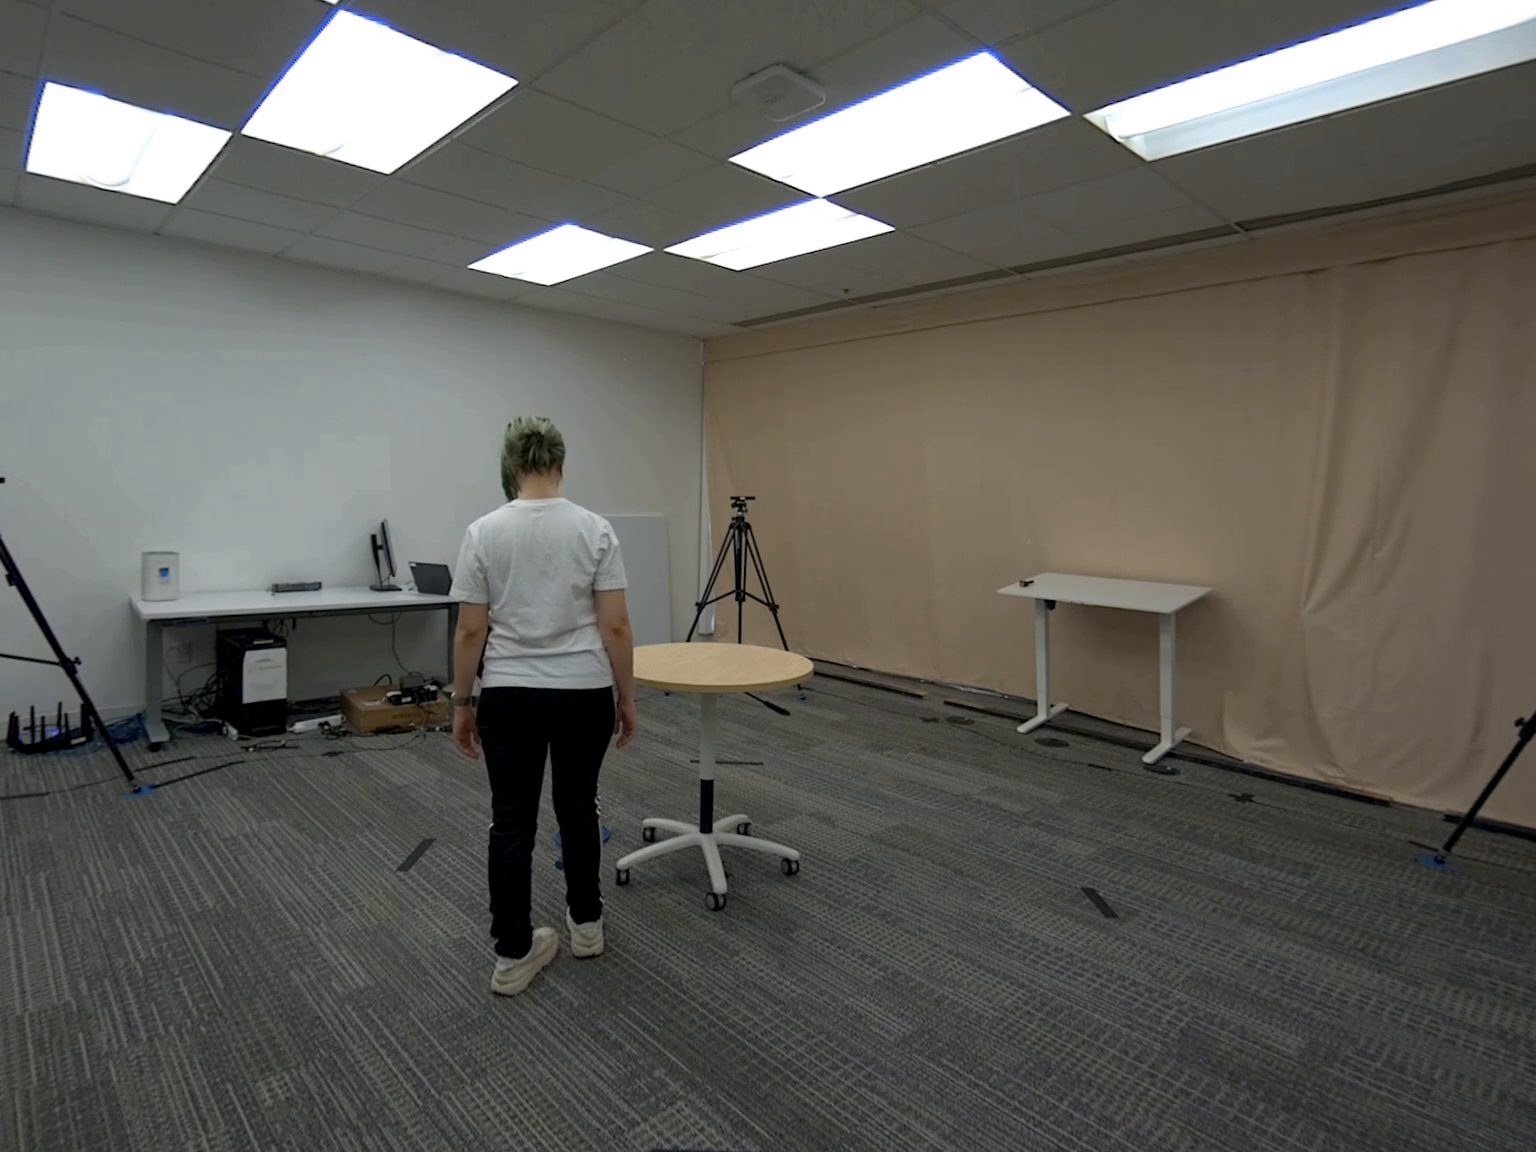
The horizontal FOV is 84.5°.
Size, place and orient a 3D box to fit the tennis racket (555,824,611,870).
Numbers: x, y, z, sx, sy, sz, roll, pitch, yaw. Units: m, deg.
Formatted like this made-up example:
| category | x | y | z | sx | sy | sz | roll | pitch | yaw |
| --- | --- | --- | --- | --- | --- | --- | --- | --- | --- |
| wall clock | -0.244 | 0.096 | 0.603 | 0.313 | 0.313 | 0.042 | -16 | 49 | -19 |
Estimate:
| category | x | y | z | sx | sy | sz | roll | pitch | yaw |
| --- | --- | --- | --- | --- | --- | --- | --- | --- | --- |
| tennis racket | -0.753 | 1.058 | 3.330 | 0.214 | 0.032 | 0.432 | 2 | 4 | 4 |
